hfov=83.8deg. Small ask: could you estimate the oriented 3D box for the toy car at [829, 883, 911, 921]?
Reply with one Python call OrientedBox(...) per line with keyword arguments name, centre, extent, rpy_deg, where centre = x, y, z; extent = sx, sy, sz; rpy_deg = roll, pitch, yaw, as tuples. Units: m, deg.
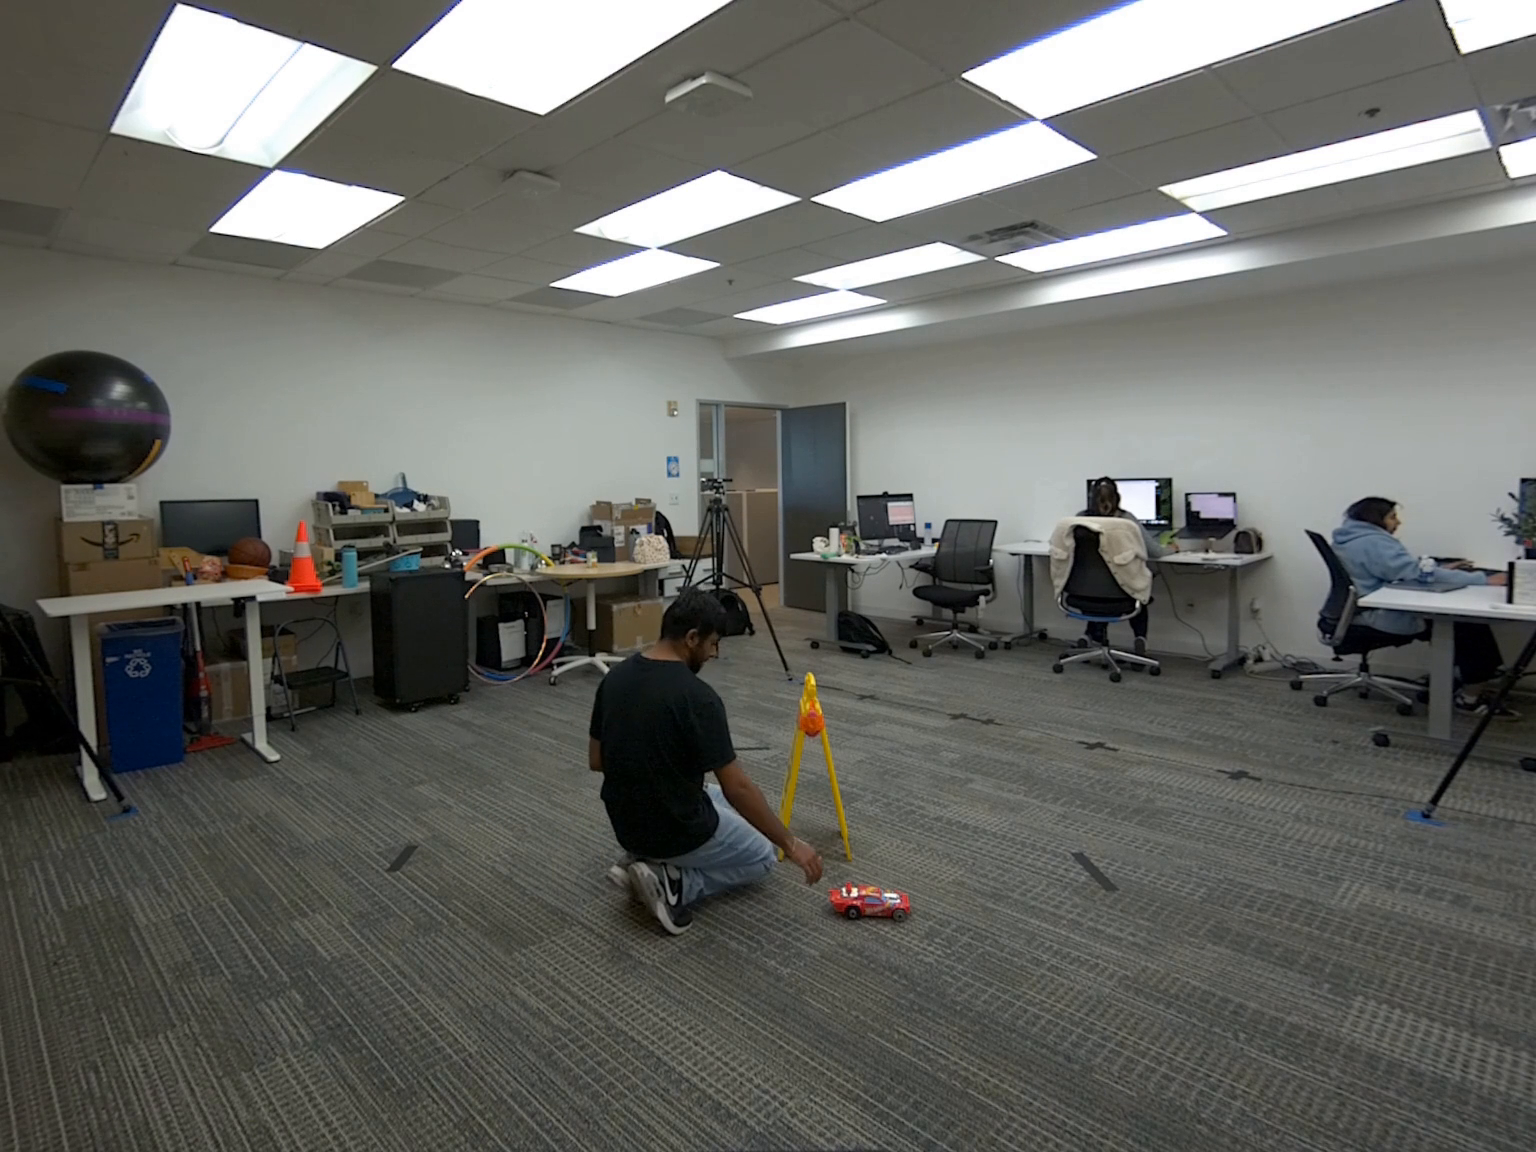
OrientedBox(name="toy car", centre=(0.322, 1.044, 2.734), extent=(0.256, 0.083, 0.130), rpy_deg=(10, 7, 4))
